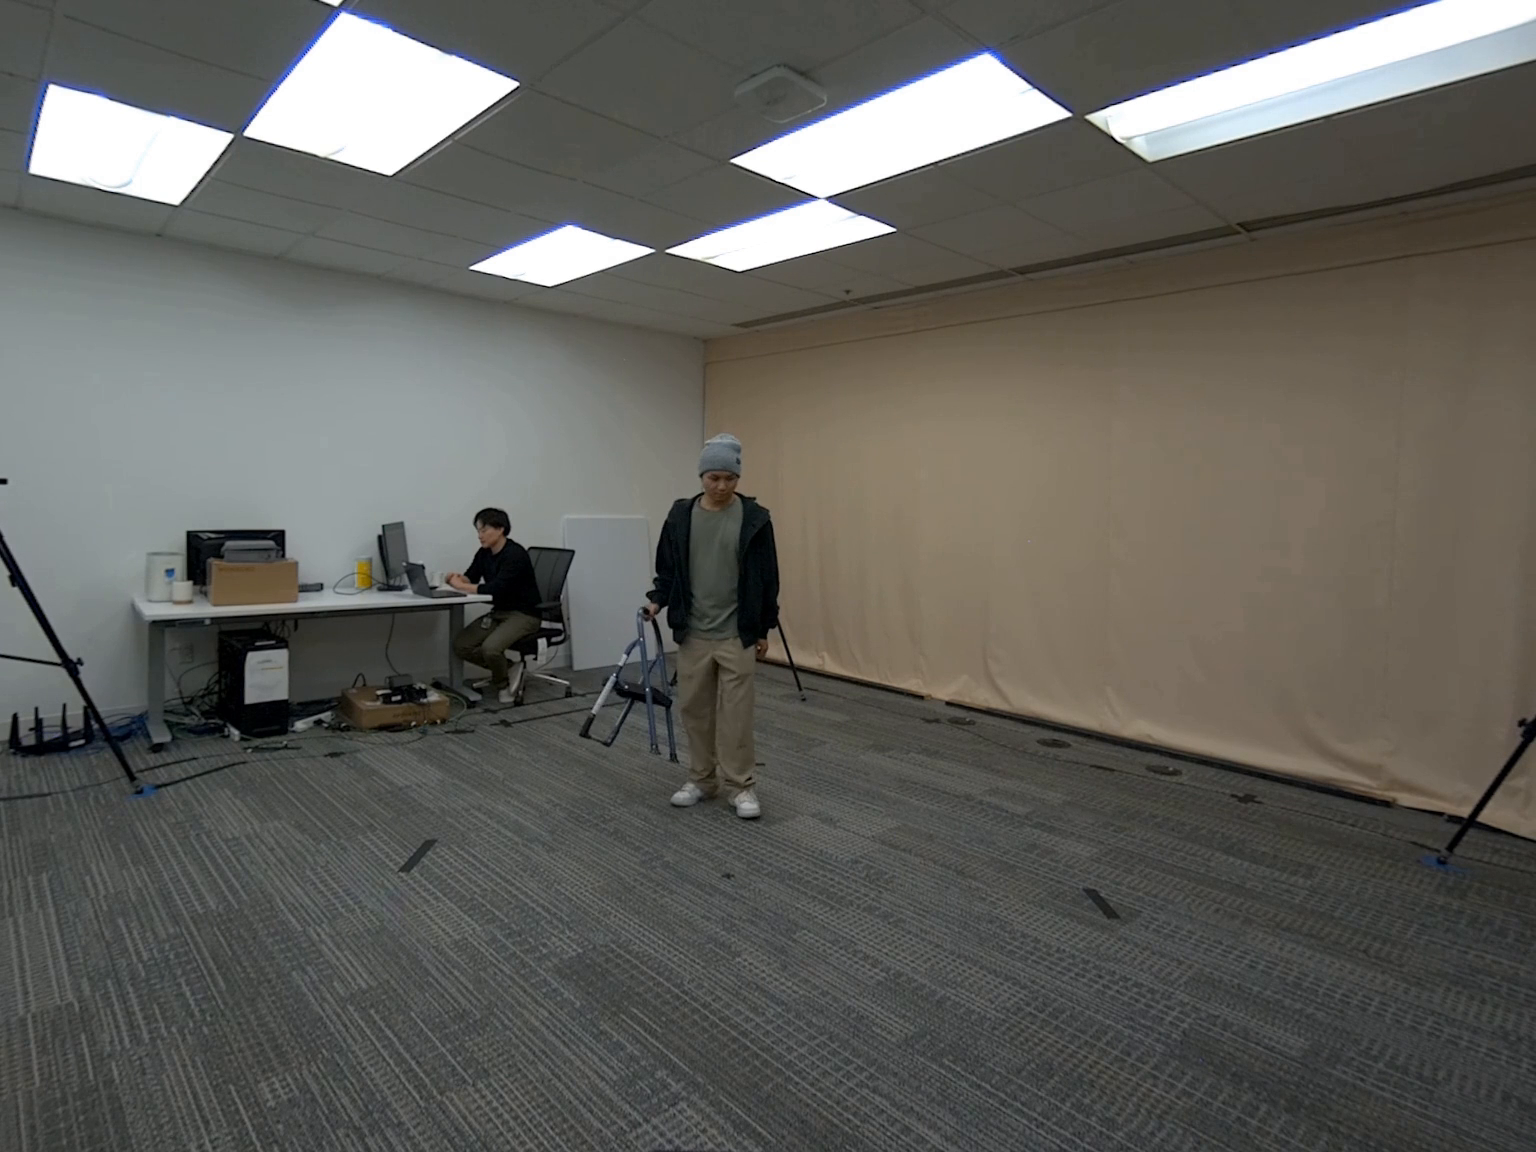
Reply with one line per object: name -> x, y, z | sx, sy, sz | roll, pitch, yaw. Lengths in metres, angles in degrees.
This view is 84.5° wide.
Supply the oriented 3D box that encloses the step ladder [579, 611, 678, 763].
step ladder -> -0.535, 0.457, 3.662 | 0.353, 0.611, 0.423 | 10, -16, 9
